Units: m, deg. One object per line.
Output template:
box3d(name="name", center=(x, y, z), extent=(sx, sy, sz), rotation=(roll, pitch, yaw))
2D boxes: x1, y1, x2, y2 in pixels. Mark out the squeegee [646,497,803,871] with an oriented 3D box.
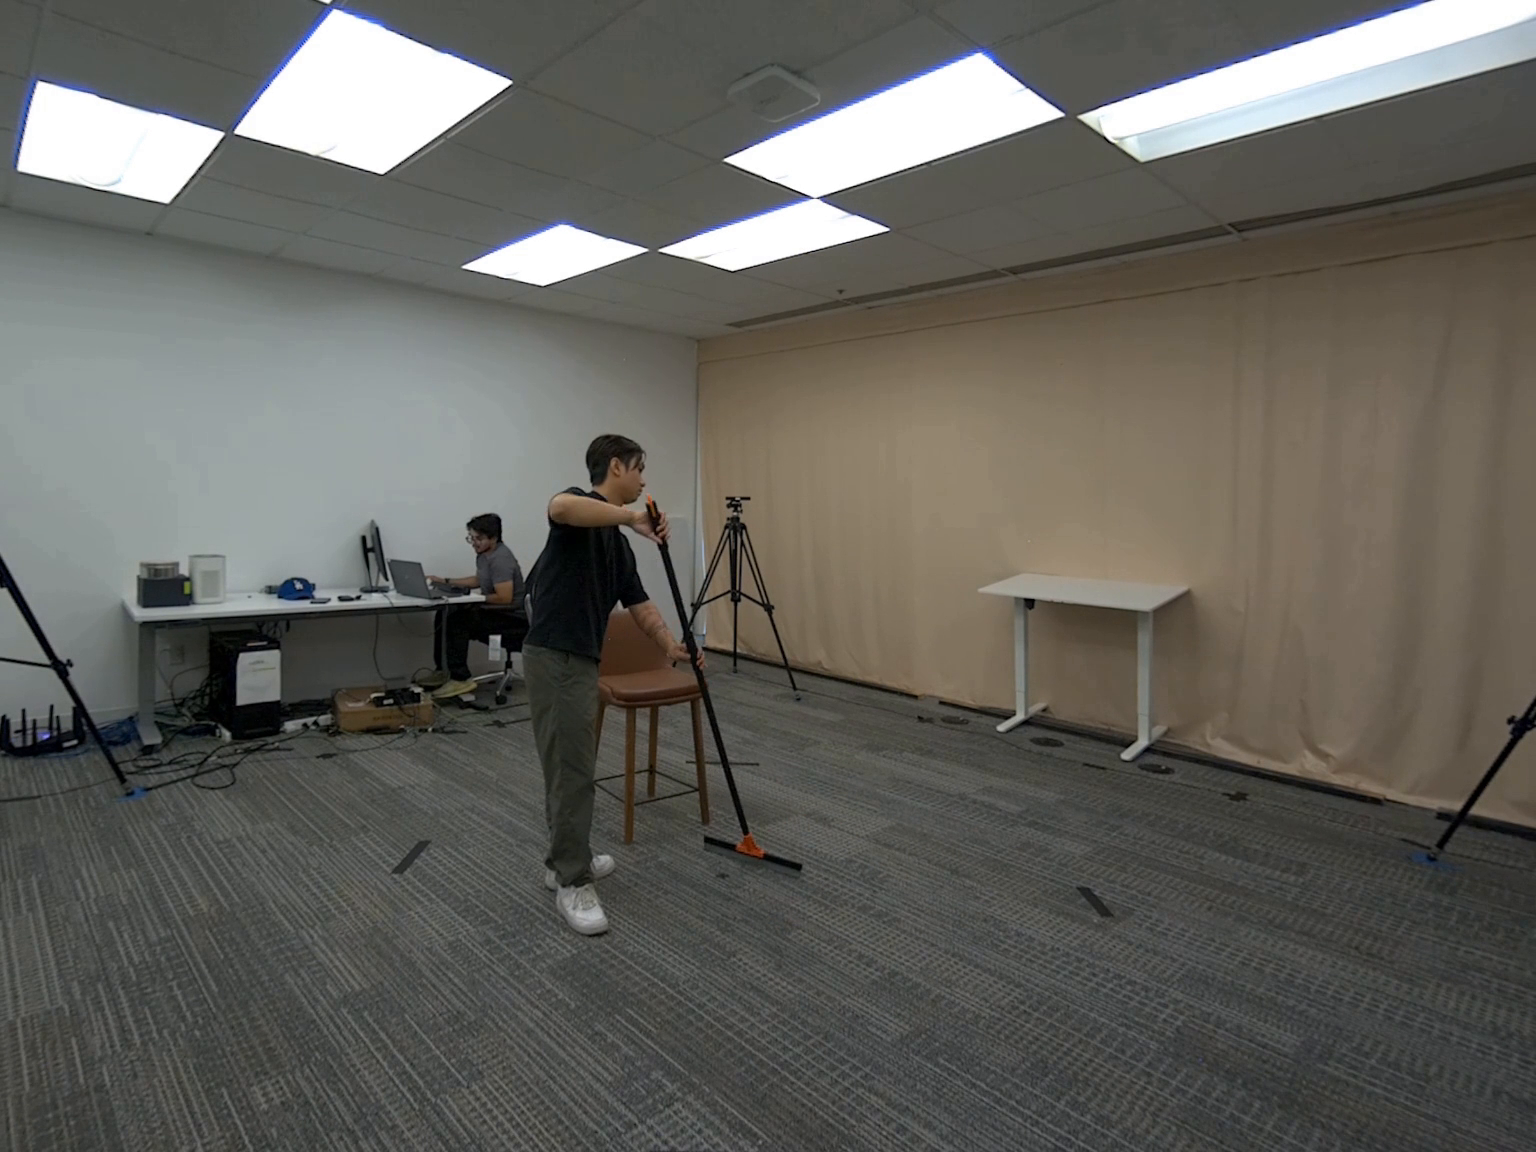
box3d(name="squeegee", center=(-0.213, 0.414, 2.919), extent=(0.448, 1.506, 0.053), rotation=(6, 31, 33))
